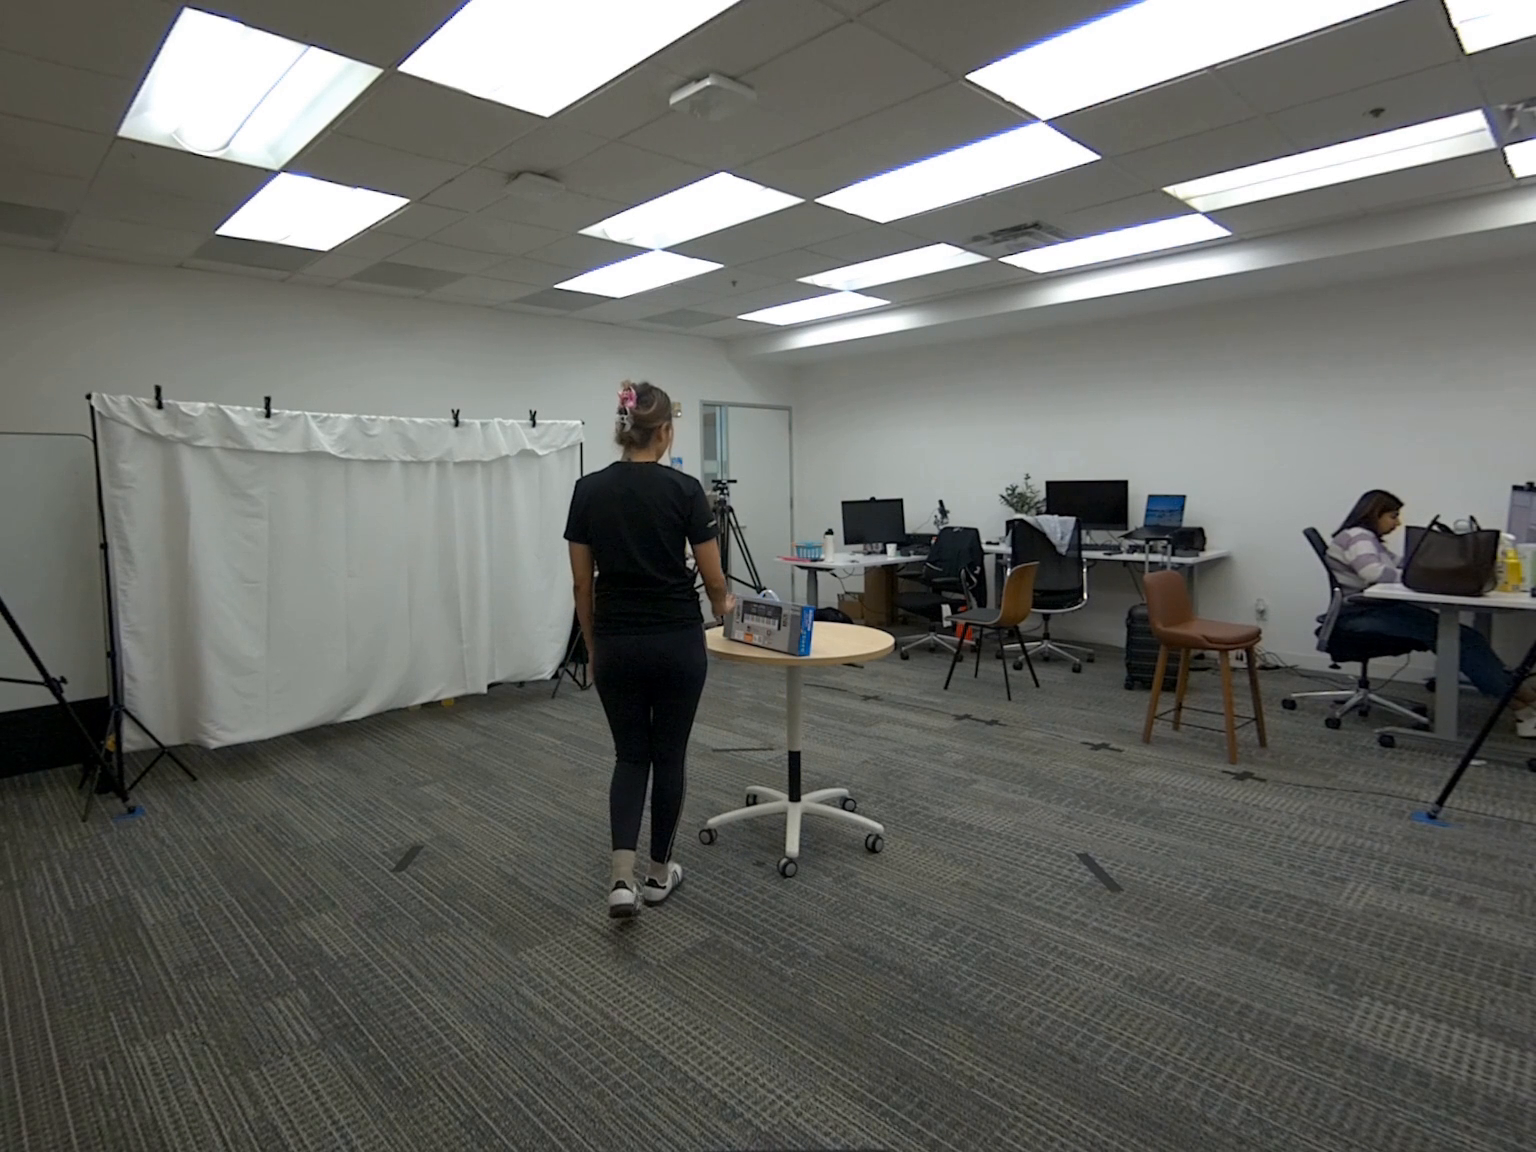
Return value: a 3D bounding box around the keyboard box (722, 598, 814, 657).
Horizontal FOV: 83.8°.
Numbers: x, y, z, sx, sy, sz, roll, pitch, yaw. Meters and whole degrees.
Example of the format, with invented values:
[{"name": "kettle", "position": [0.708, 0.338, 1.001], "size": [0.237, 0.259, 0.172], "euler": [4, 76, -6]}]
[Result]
[{"name": "keyboard box", "position": [-0.005, 0.171, 3.127], "size": [0.057, 0.176, 0.450], "euler": [5, 2, -38]}]
